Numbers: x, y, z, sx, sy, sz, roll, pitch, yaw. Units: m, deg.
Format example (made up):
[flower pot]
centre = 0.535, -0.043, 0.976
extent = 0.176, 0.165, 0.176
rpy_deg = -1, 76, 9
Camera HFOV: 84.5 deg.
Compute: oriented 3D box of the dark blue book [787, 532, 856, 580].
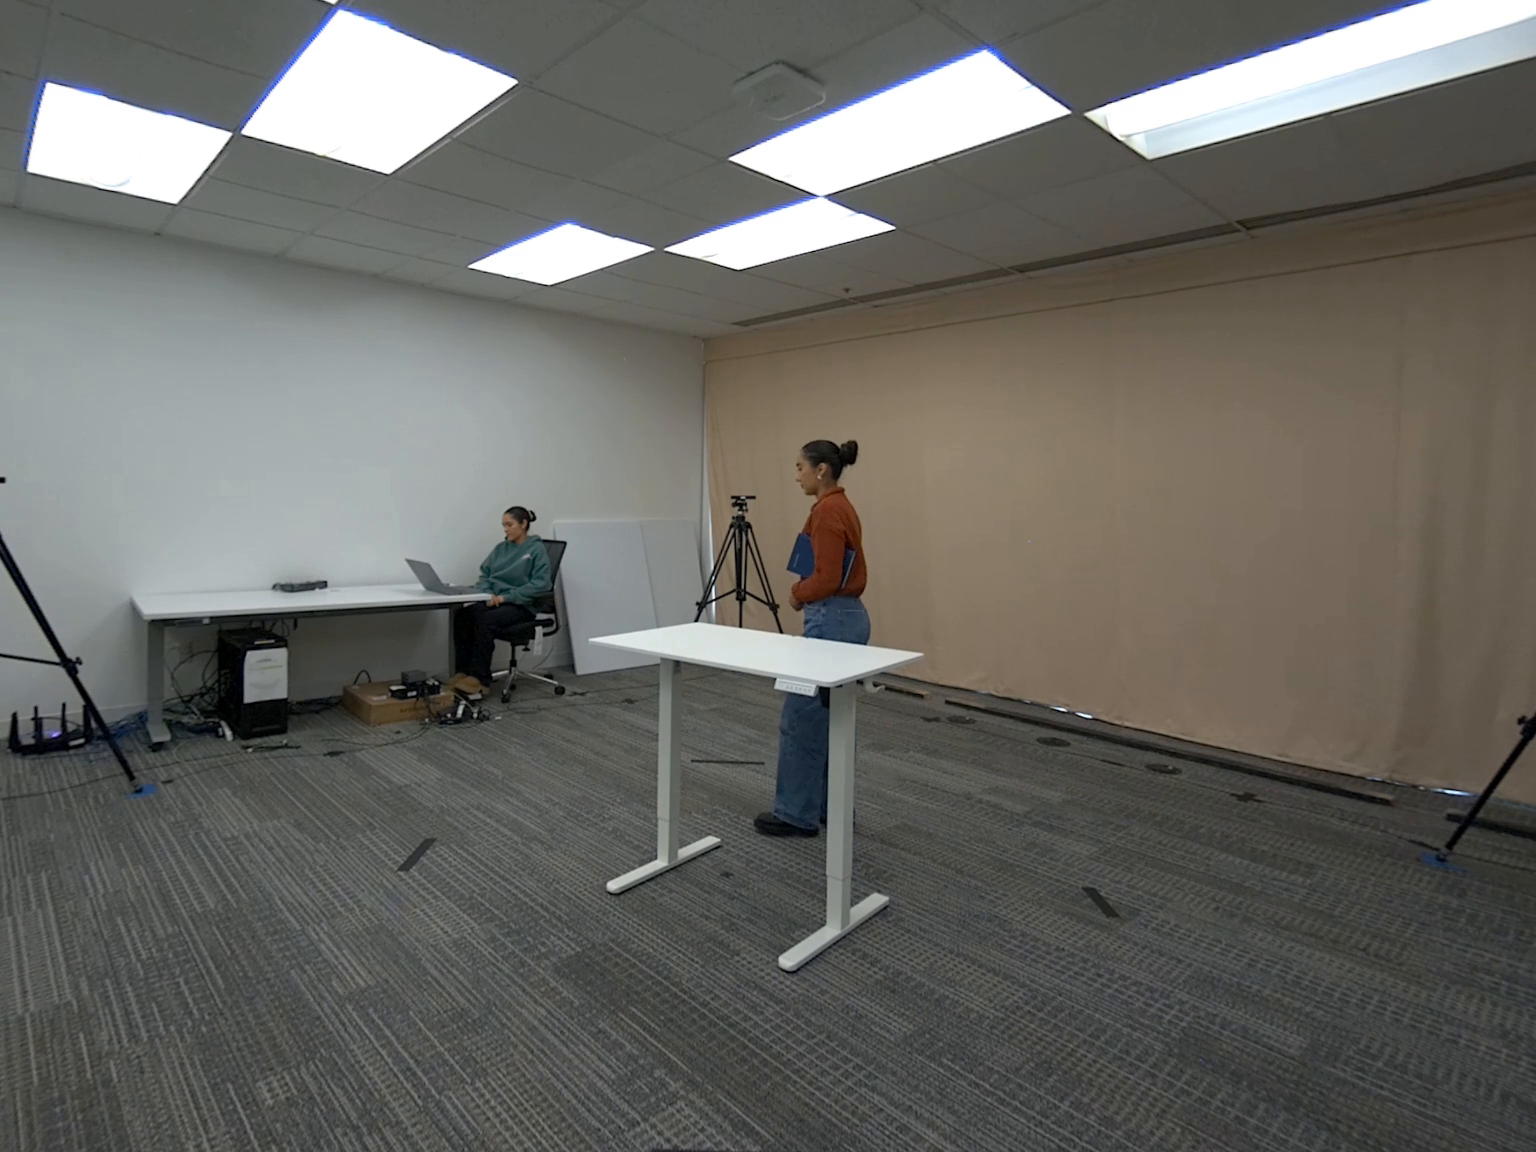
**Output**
[dark blue book]
centre = 0.206, -0.065, 3.420
extent = 0.248, 0.162, 0.045
rpy_deg = 18, 11, 15
